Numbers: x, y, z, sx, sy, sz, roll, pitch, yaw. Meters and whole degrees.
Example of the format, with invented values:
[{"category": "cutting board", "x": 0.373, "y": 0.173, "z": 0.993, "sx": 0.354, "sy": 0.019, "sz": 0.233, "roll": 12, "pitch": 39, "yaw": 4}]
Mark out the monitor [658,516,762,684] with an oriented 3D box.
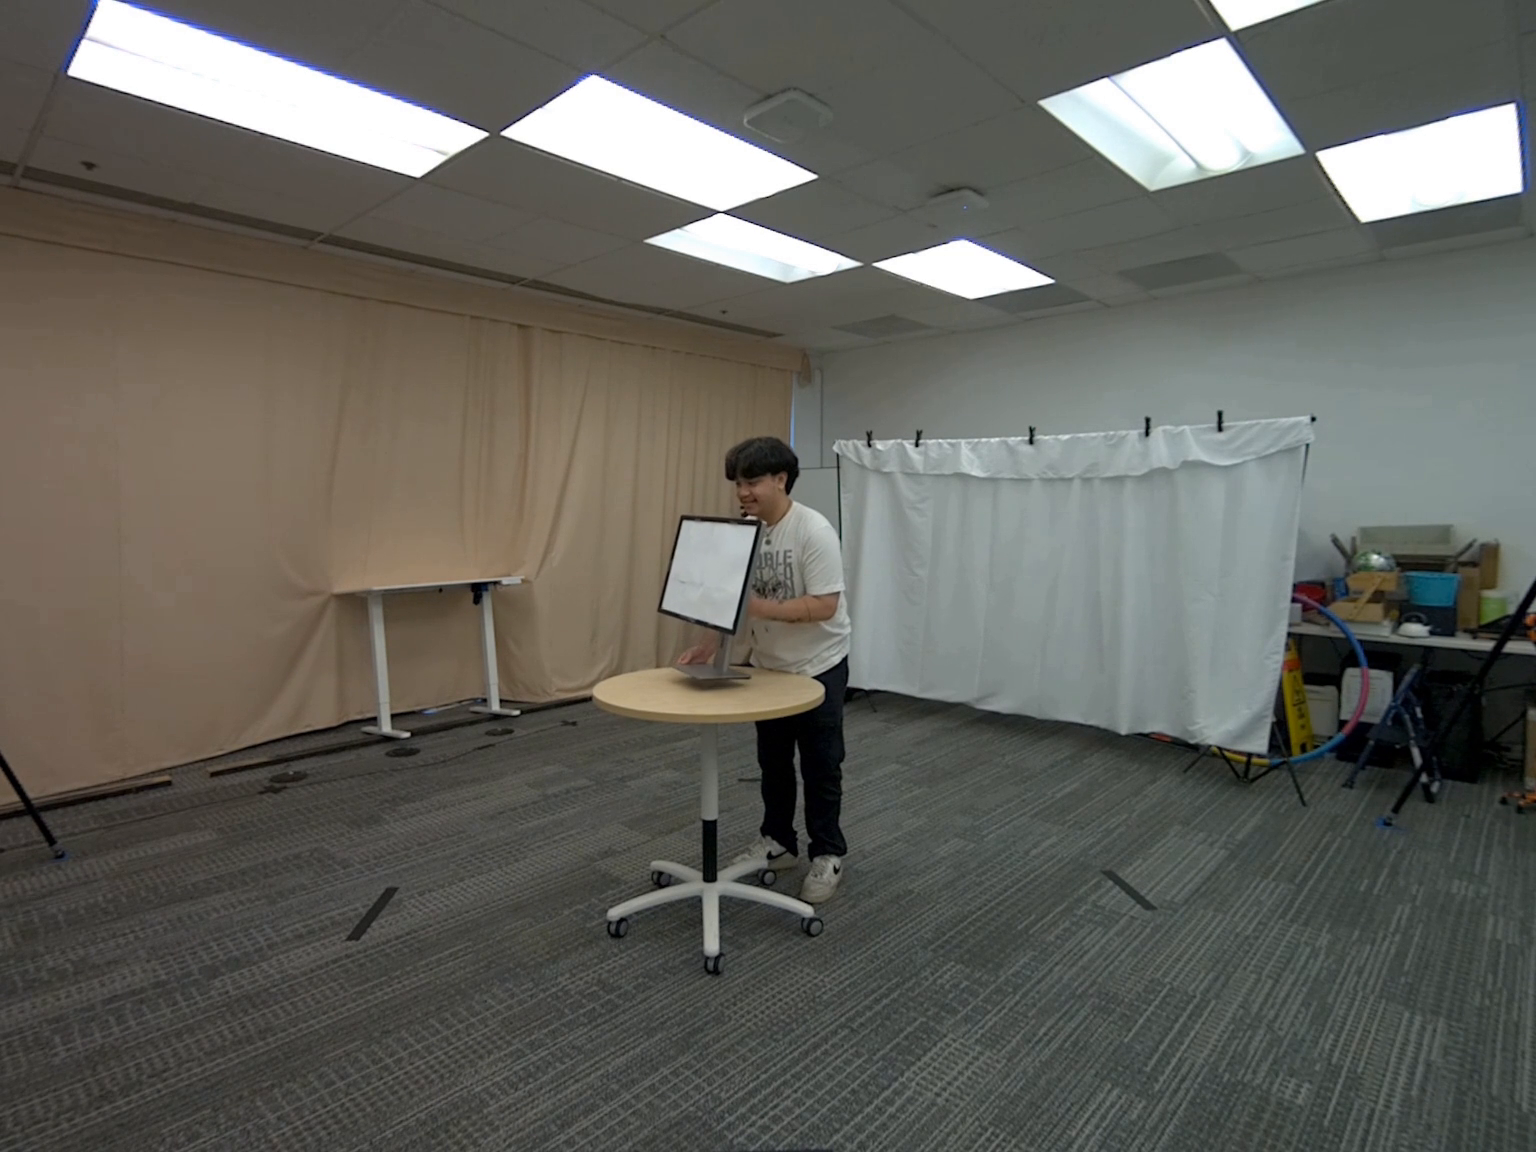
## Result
[{"category": "monitor", "x": -0.149, "y": 0.078, "z": 2.851, "sx": 0.204, "sy": 0.554, "sz": 0.582, "roll": 9, "pitch": -1, "yaw": -32}]
